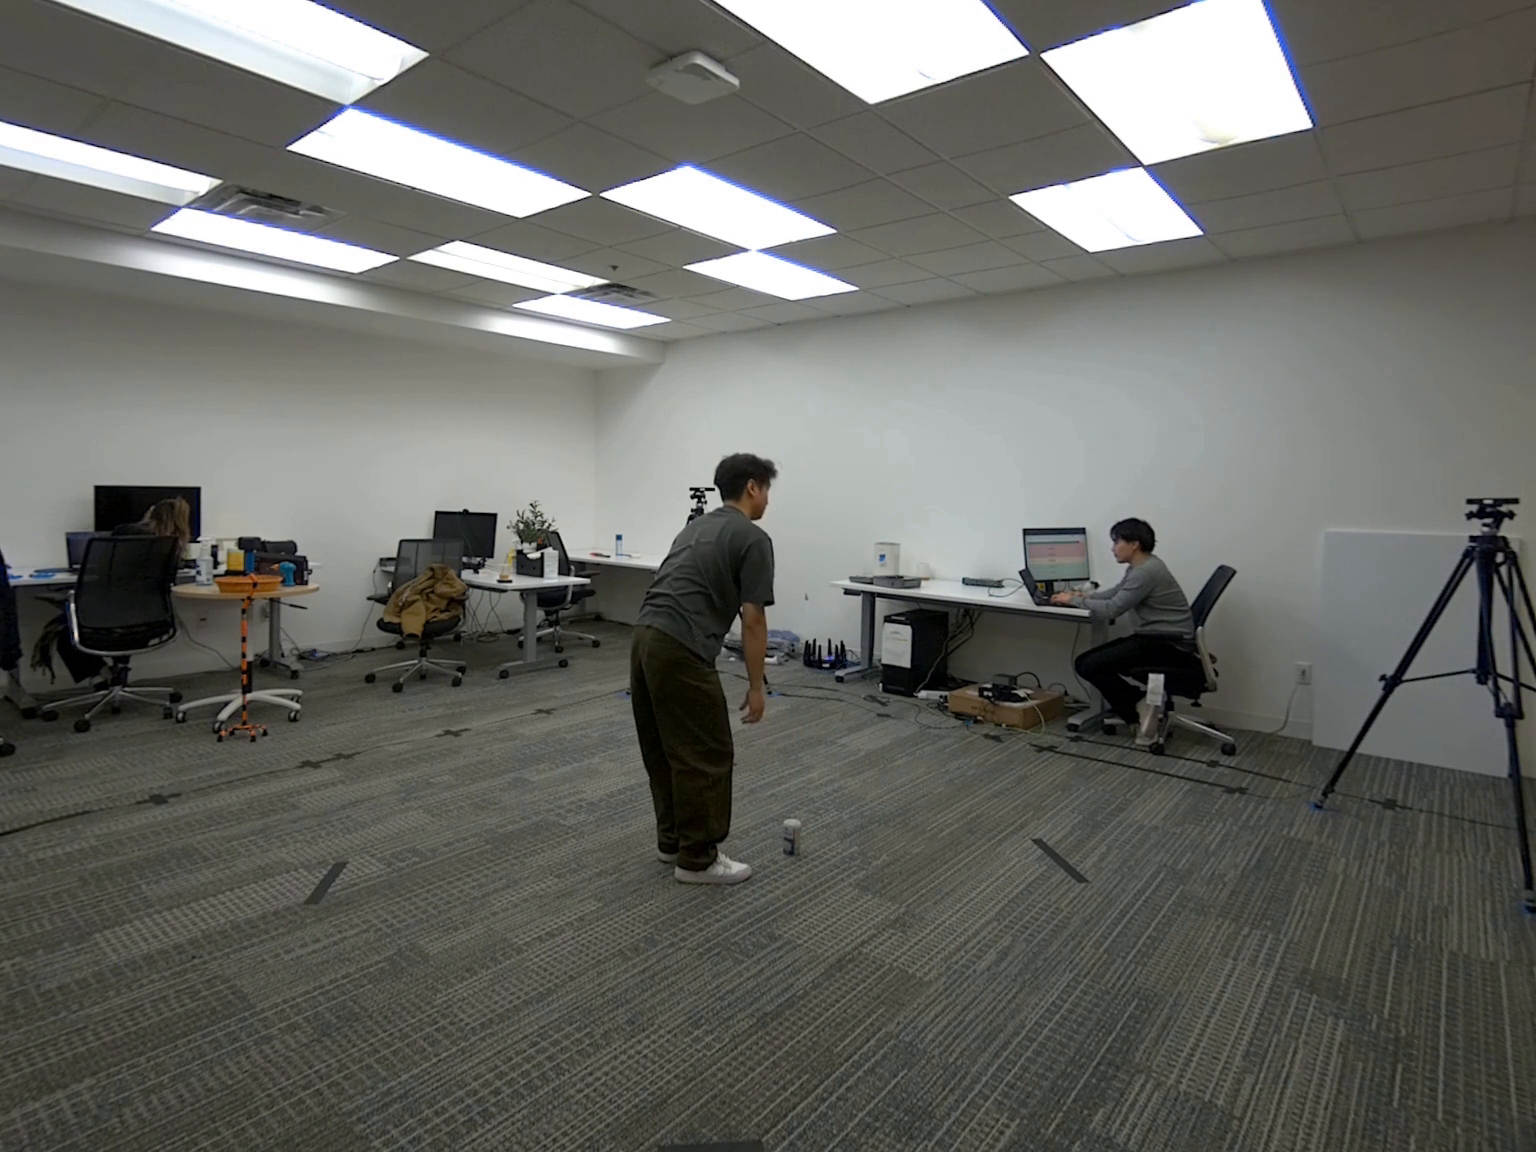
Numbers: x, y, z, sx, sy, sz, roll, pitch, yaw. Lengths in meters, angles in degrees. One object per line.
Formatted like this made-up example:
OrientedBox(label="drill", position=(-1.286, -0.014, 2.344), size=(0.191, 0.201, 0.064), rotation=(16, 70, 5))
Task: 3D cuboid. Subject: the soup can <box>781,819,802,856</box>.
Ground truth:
OrientedBox(label="soup can", position=(0.082, 1.005, 3.252), size=(0.067, 0.121, 0.067), rotation=(2, 4, -2))
